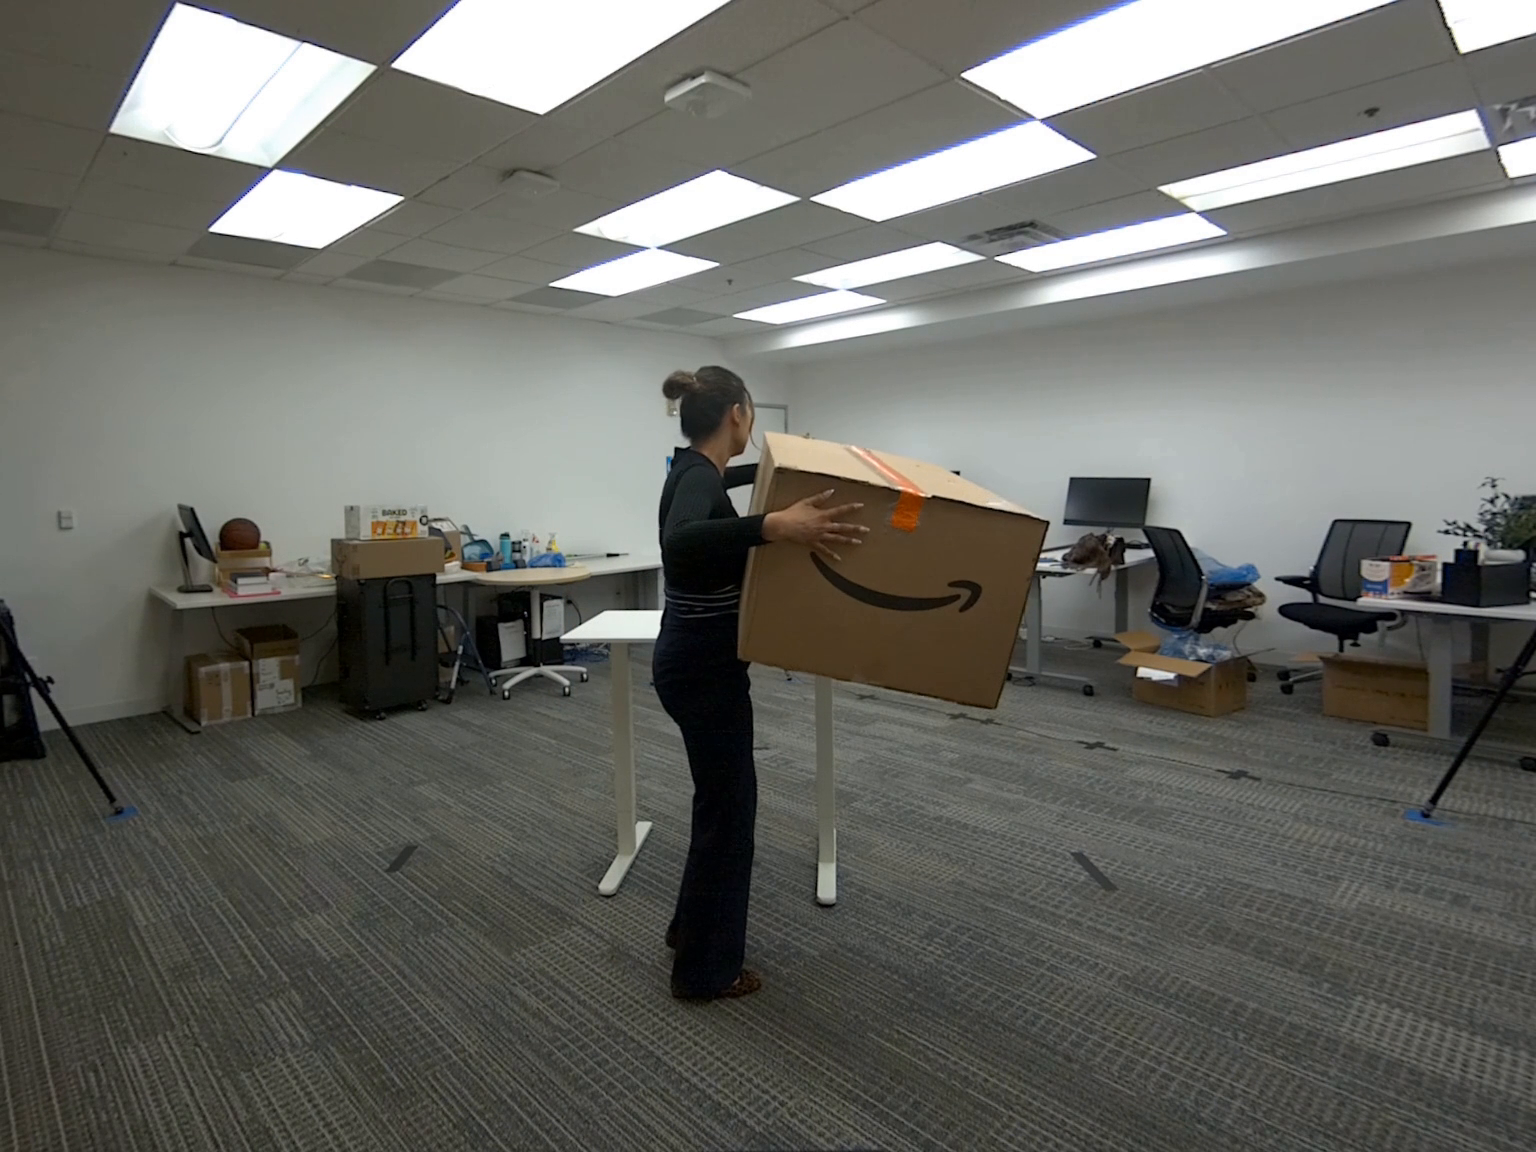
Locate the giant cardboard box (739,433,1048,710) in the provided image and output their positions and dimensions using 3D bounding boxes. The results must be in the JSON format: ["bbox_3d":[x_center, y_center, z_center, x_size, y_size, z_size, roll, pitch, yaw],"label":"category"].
[{"bbox_3d":[0.248,-0.099,2.284,0.576,0.423,1.036,11,12,-3],"label":"giant cardboard box"}]
